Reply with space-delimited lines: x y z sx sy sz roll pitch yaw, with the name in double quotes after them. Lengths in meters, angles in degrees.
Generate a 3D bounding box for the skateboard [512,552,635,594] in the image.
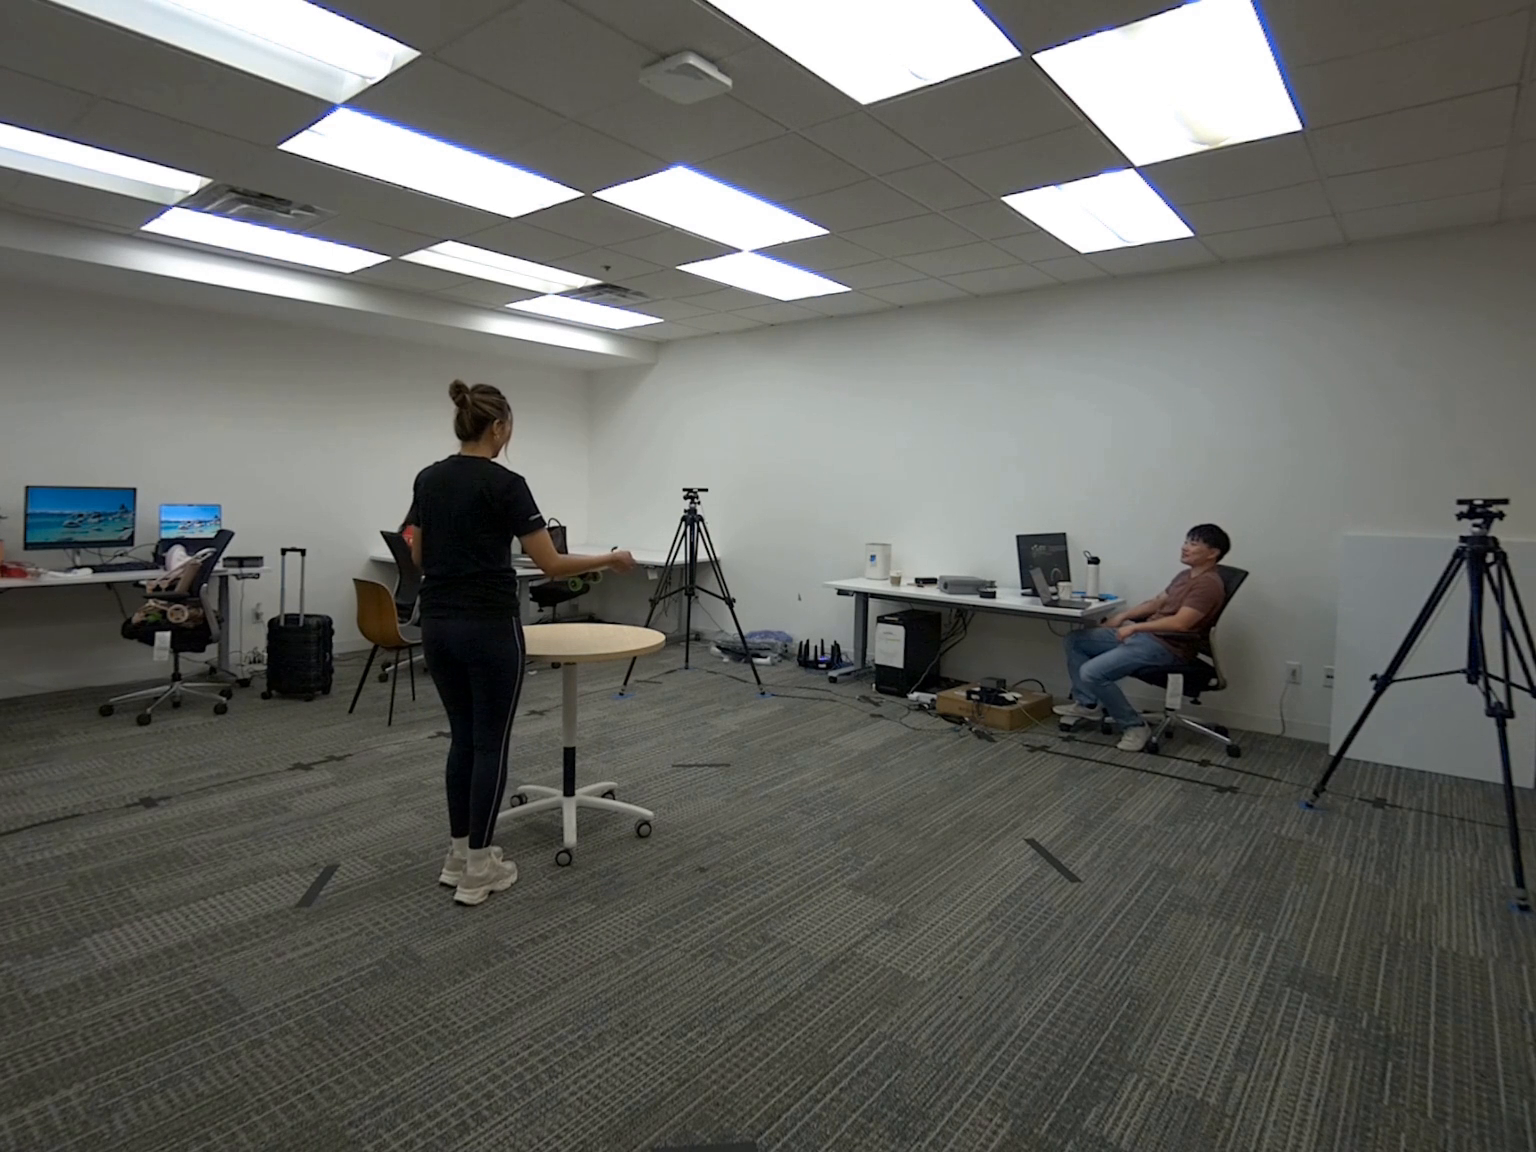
-0.914 -0.025 3.257 0.804 0.110 0.190 3 6 22 "skateboard"
